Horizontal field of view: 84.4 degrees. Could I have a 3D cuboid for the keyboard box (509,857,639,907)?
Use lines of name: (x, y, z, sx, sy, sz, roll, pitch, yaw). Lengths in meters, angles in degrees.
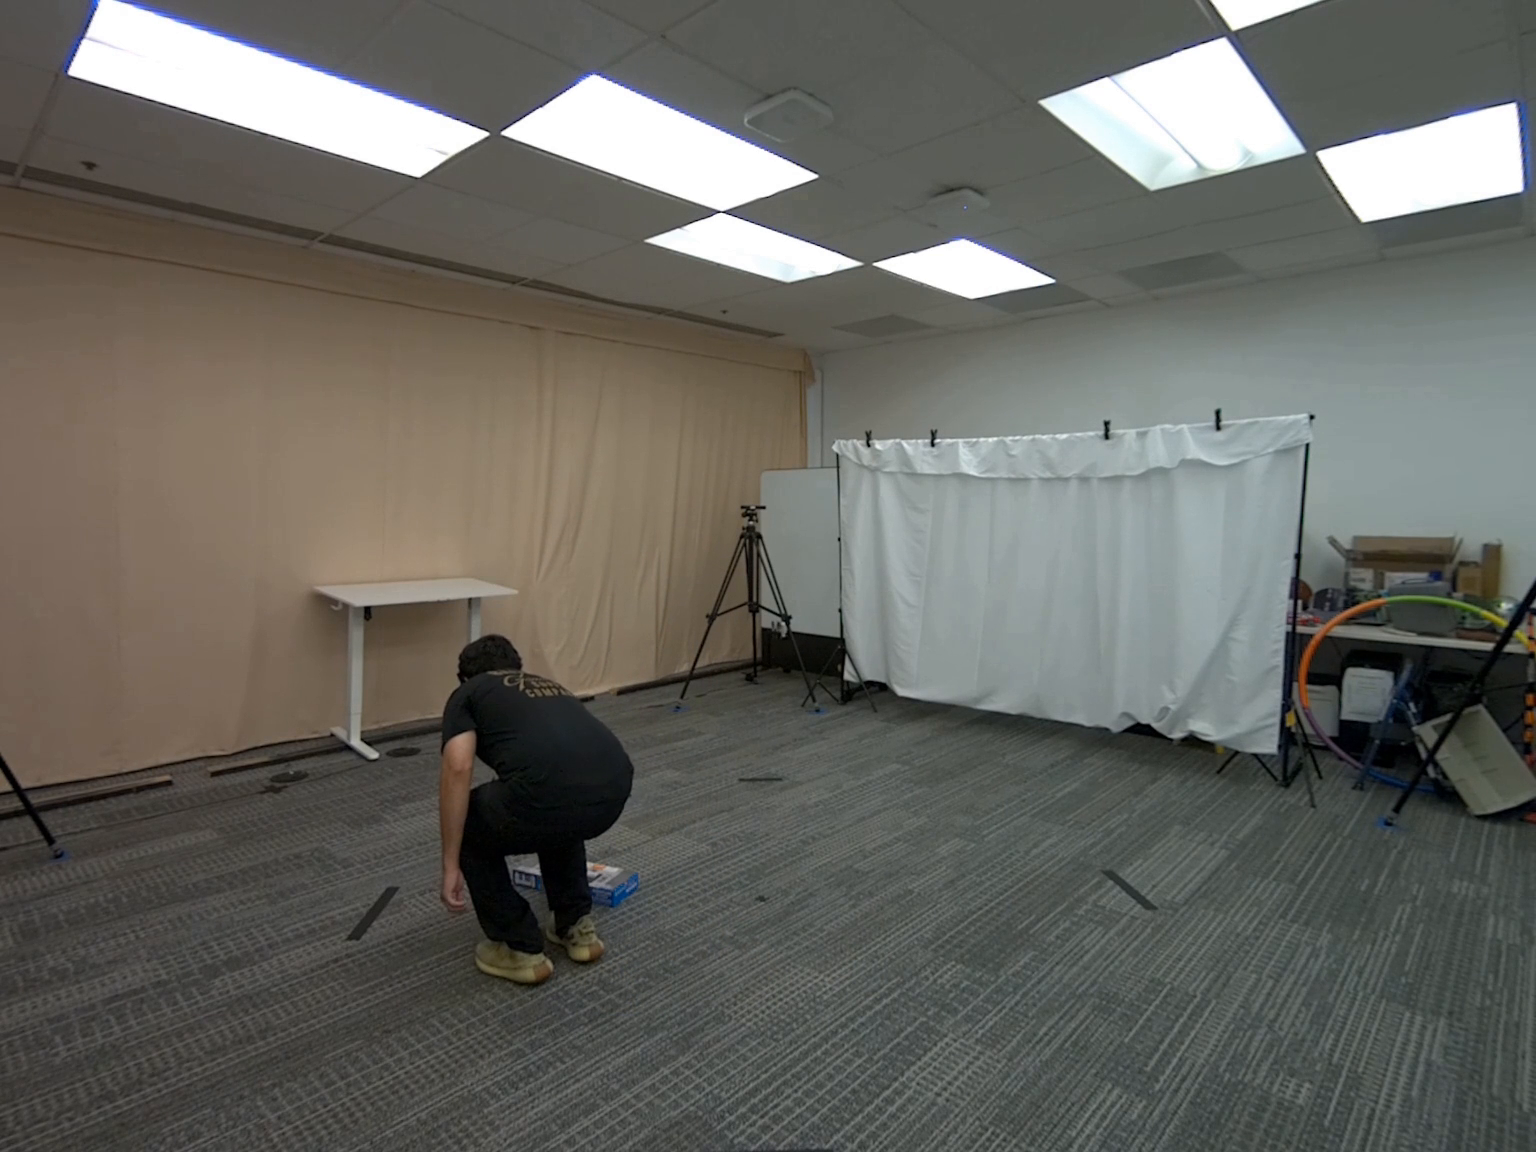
keyboard box: (-0.709, 1.112, 3.093, 0.448, 0.059, 0.172, 2, 4, 25)
